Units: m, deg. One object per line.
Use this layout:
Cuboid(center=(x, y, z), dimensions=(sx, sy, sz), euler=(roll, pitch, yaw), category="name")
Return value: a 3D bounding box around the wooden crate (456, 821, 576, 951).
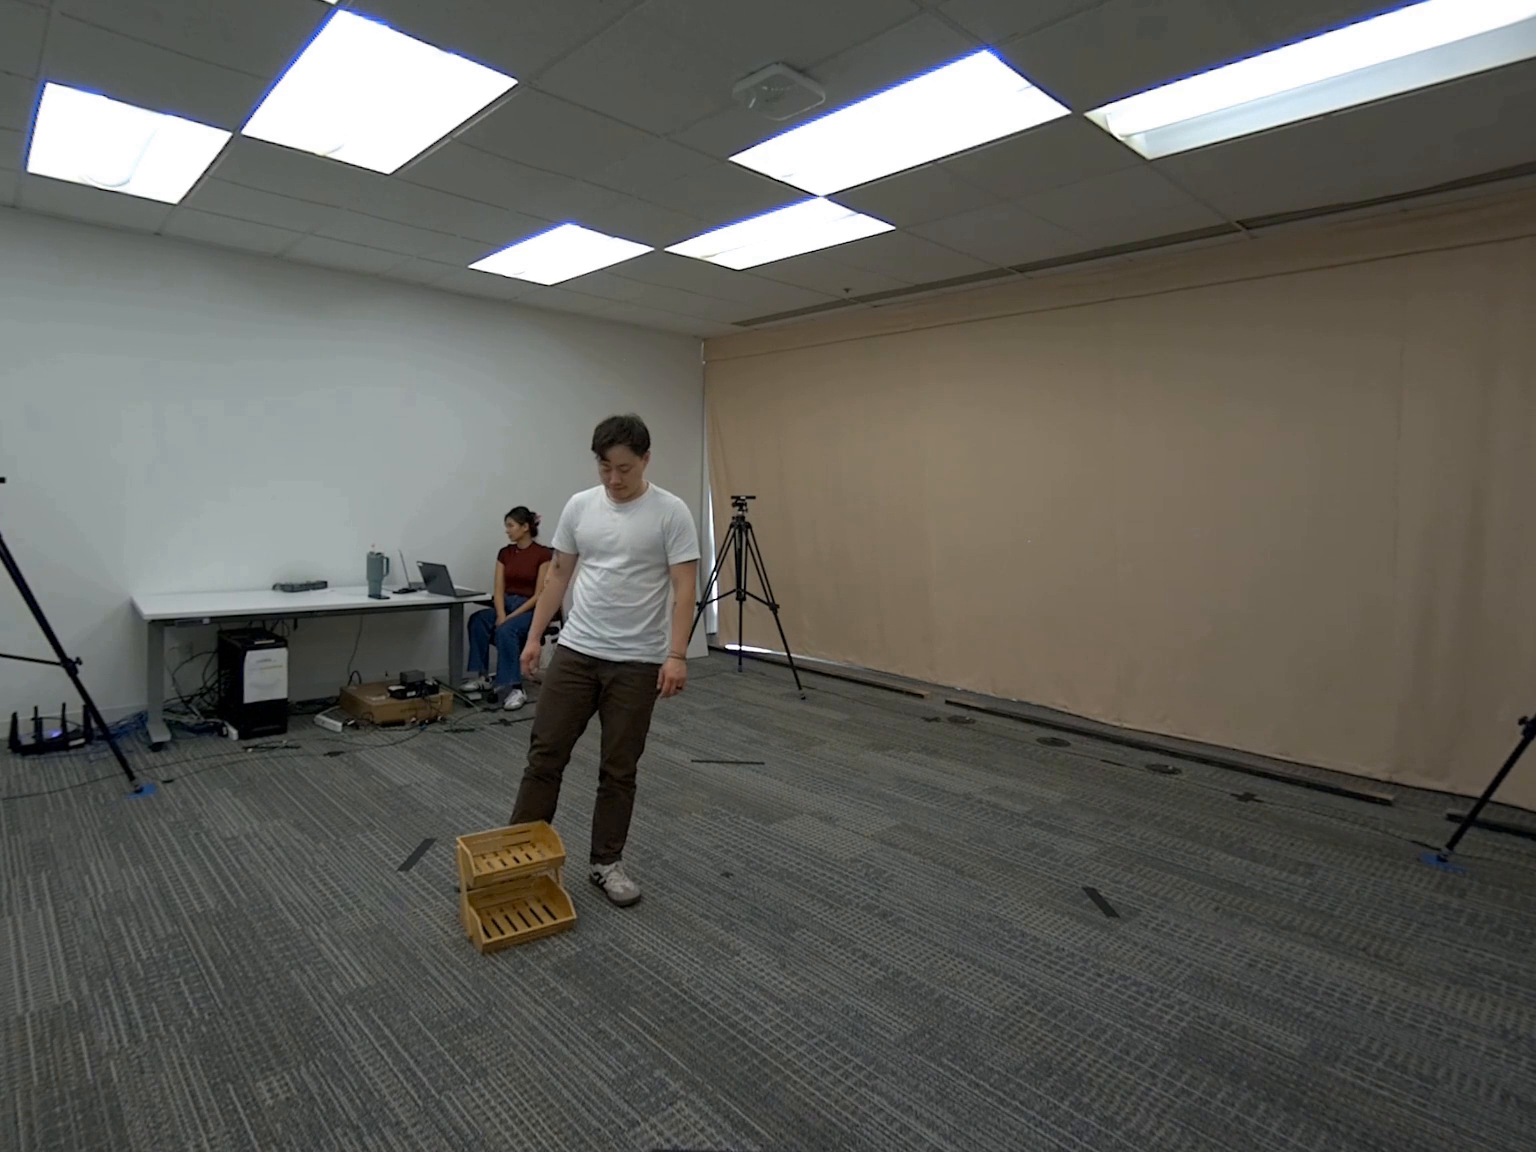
Cuboid(center=(-0.814, 0.995, 2.695), dimensions=(0.317, 0.272, 0.309), euler=(-1, 5, -35), category="wooden crate")
